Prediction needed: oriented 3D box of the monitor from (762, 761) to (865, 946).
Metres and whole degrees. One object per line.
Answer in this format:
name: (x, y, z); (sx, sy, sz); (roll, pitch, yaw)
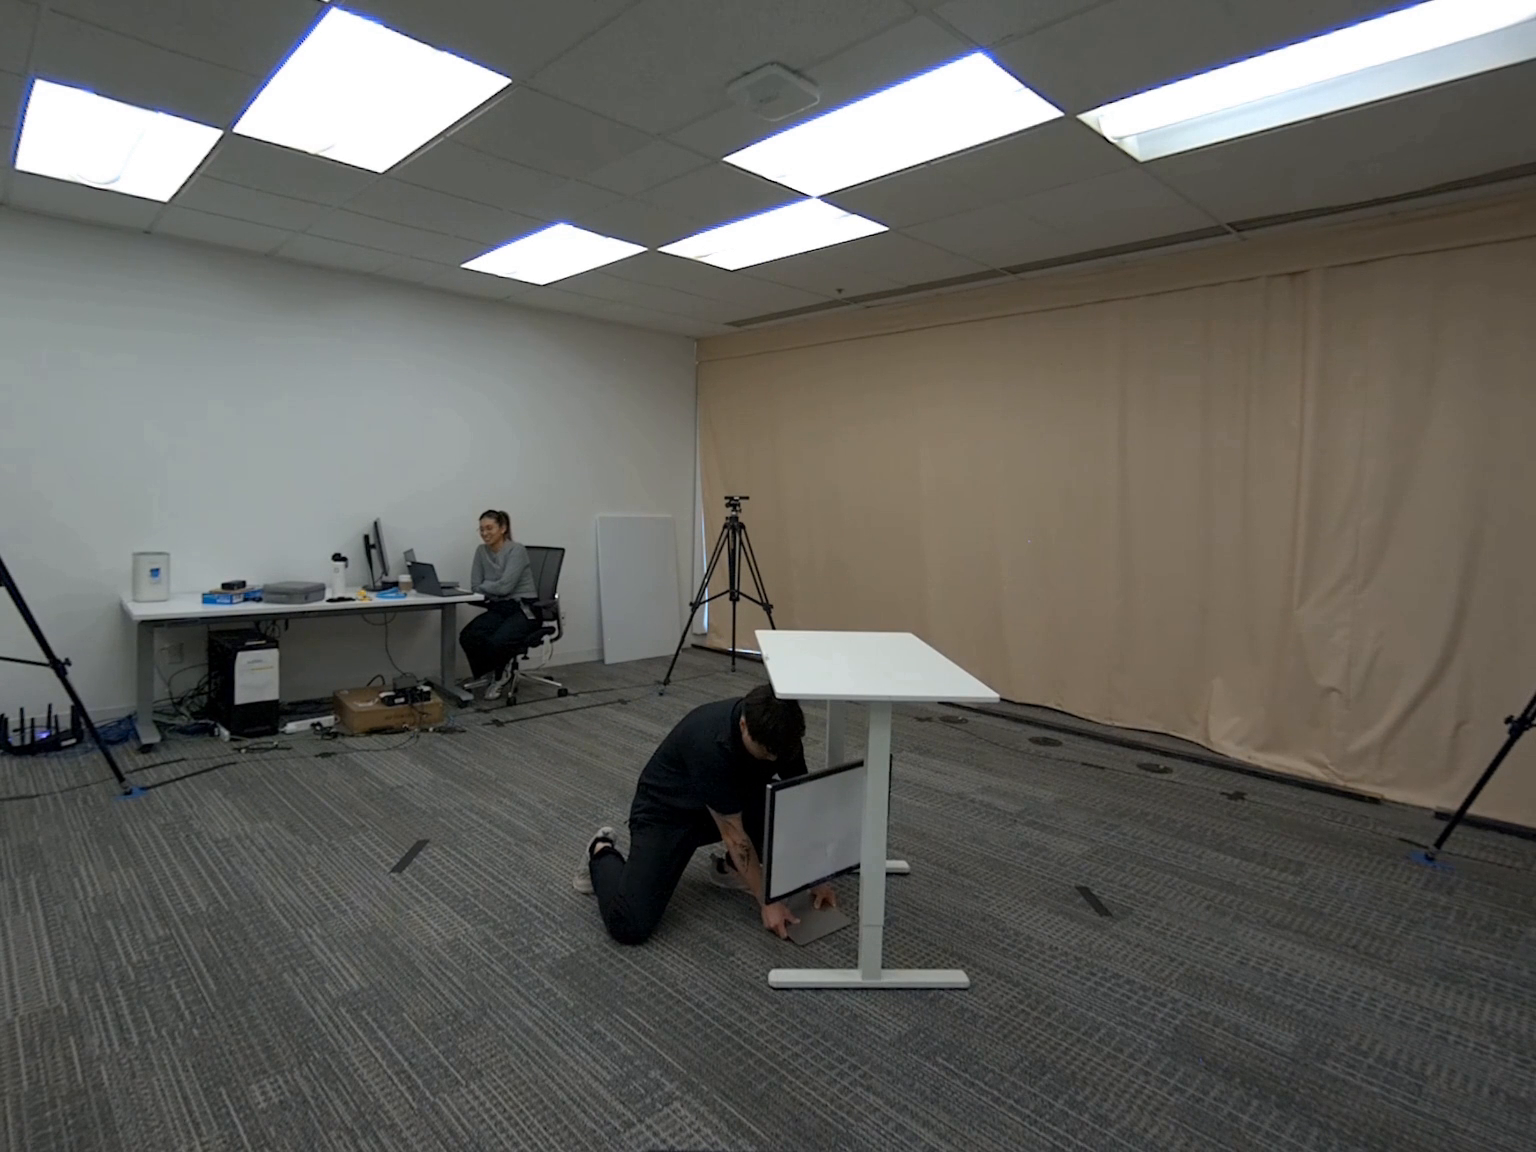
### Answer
monitor: (0.153, 0.867, 2.703); (0.527, 0.518, 0.193); (-3, 19, -42)
